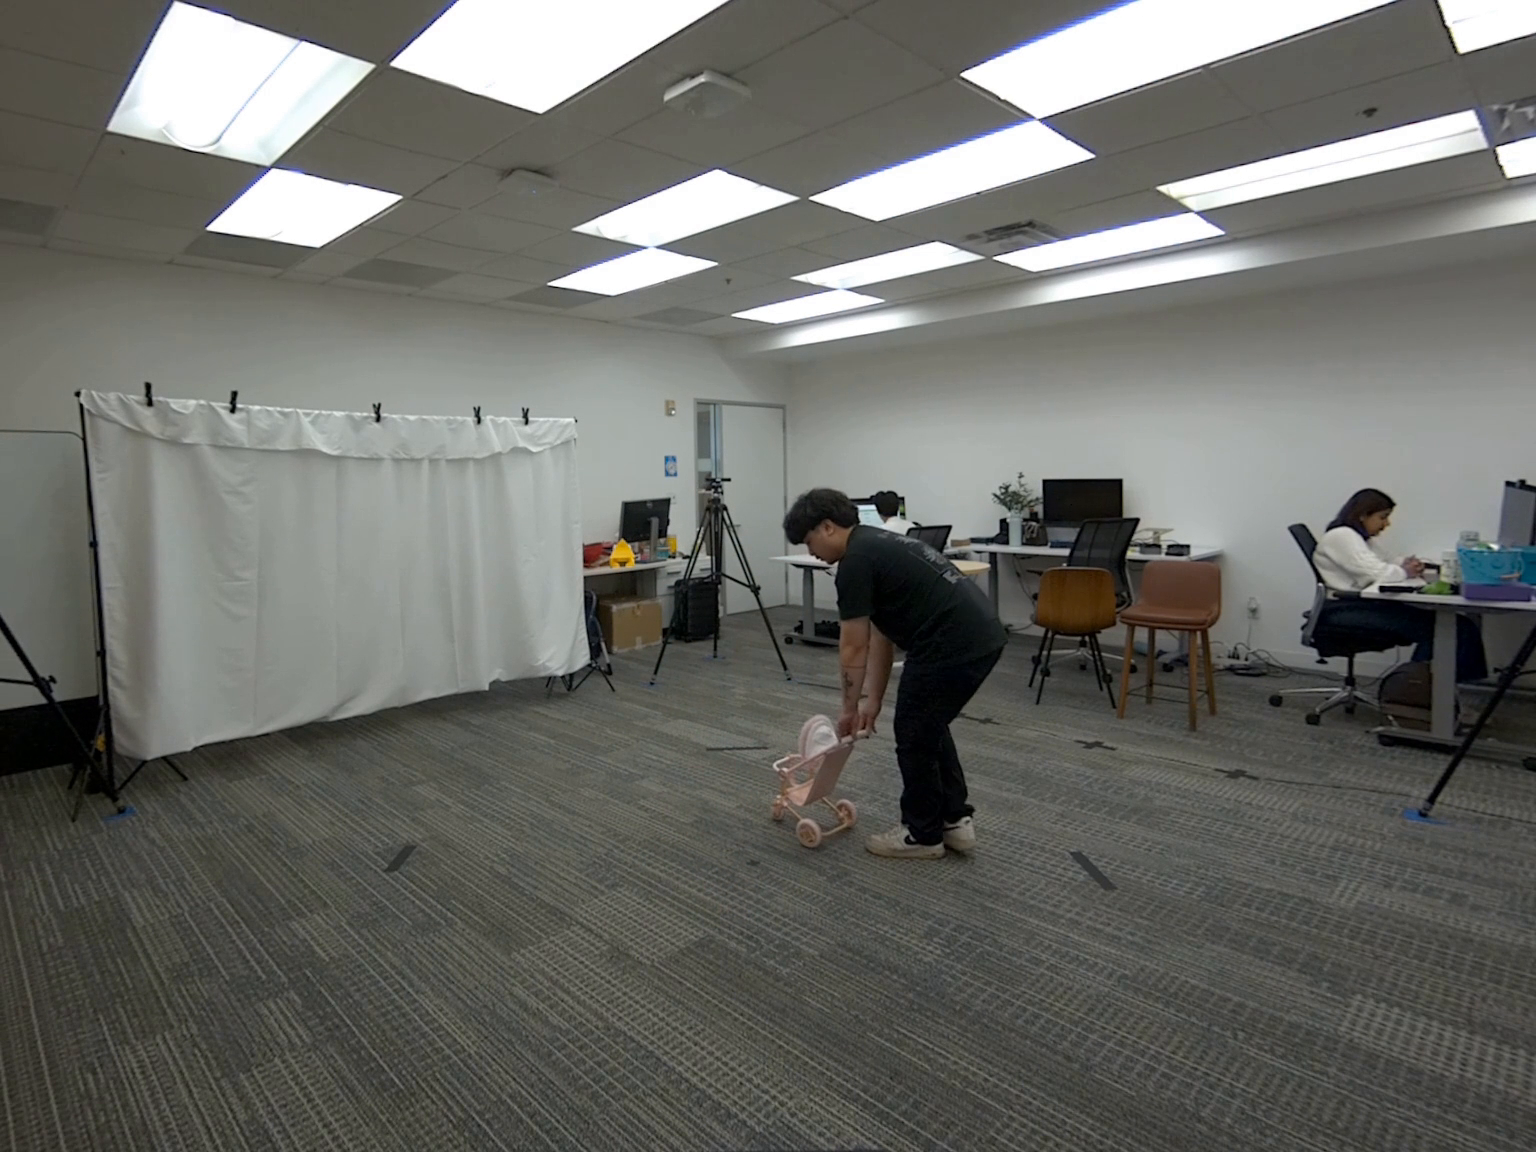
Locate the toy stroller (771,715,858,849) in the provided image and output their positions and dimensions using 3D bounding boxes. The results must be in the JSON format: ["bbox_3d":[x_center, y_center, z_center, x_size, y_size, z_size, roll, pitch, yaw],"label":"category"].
[{"bbox_3d":[0.182,0.784,3.353,0.274,0.529,0.354,-5,22,-44],"label":"toy stroller"}]
